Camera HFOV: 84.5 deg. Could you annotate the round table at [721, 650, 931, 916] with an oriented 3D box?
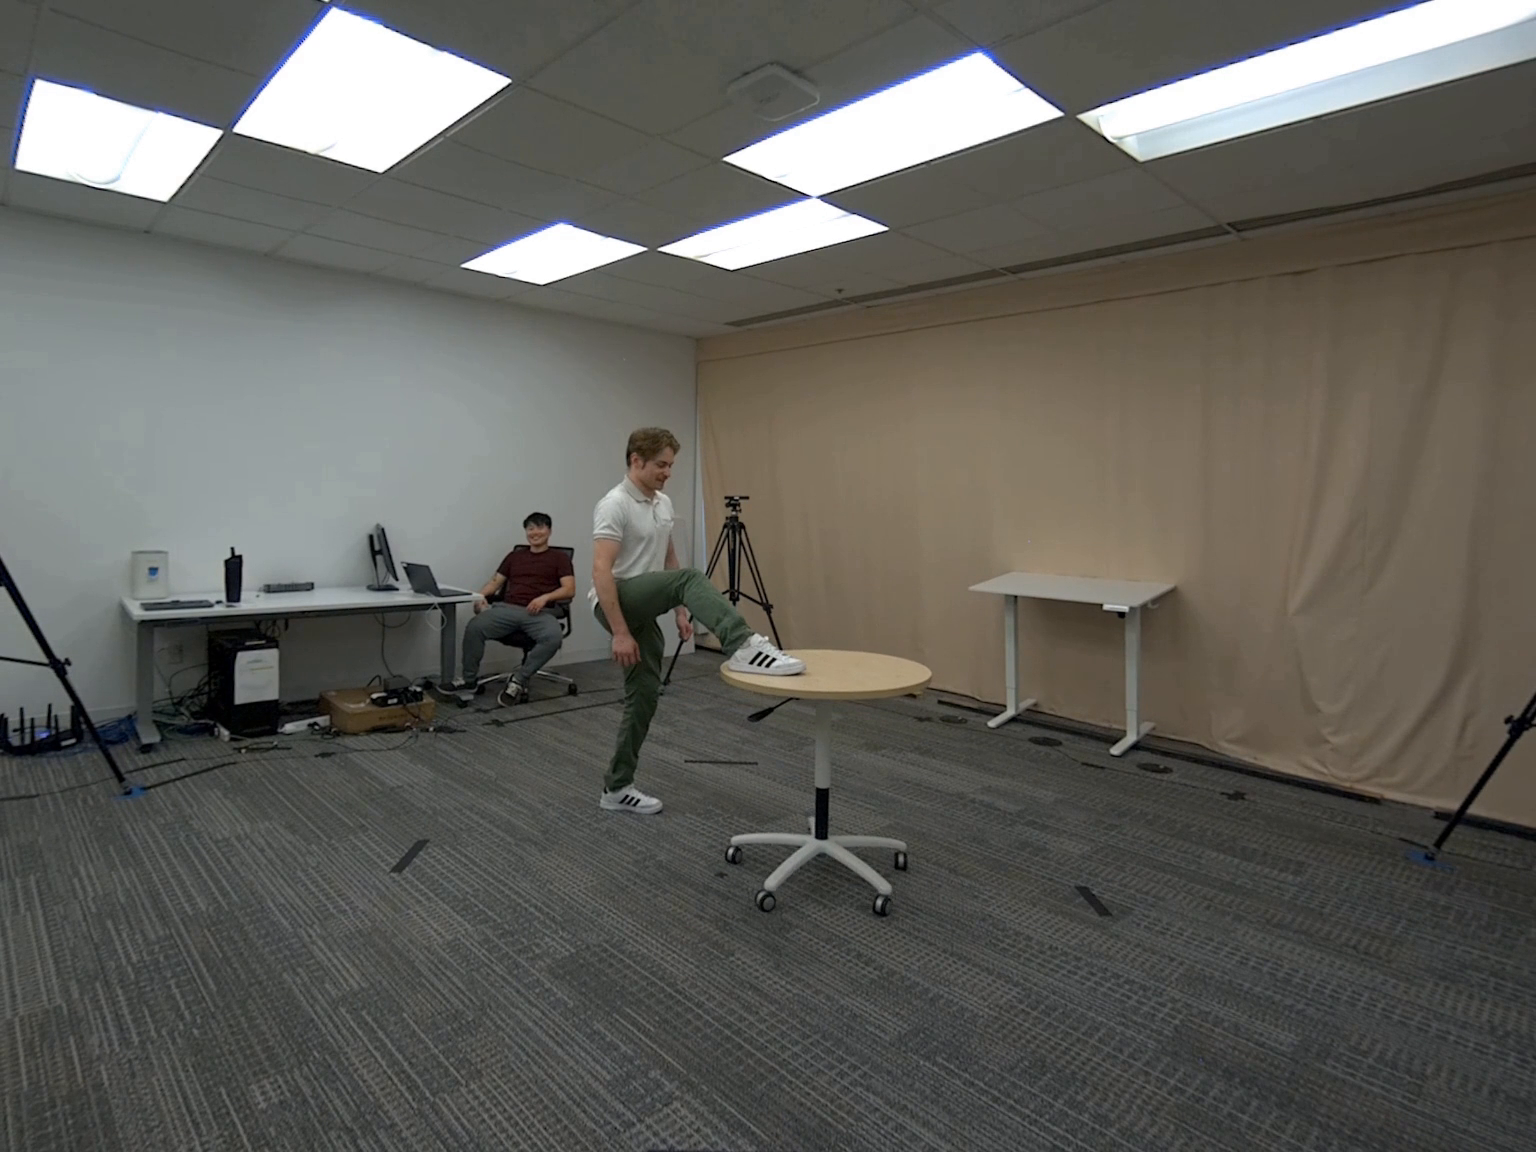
[{"bbox_3d":[0.196,0.728,3.096,0.763,0.792,0.766,1,4,-1],"label":"round table"}]
